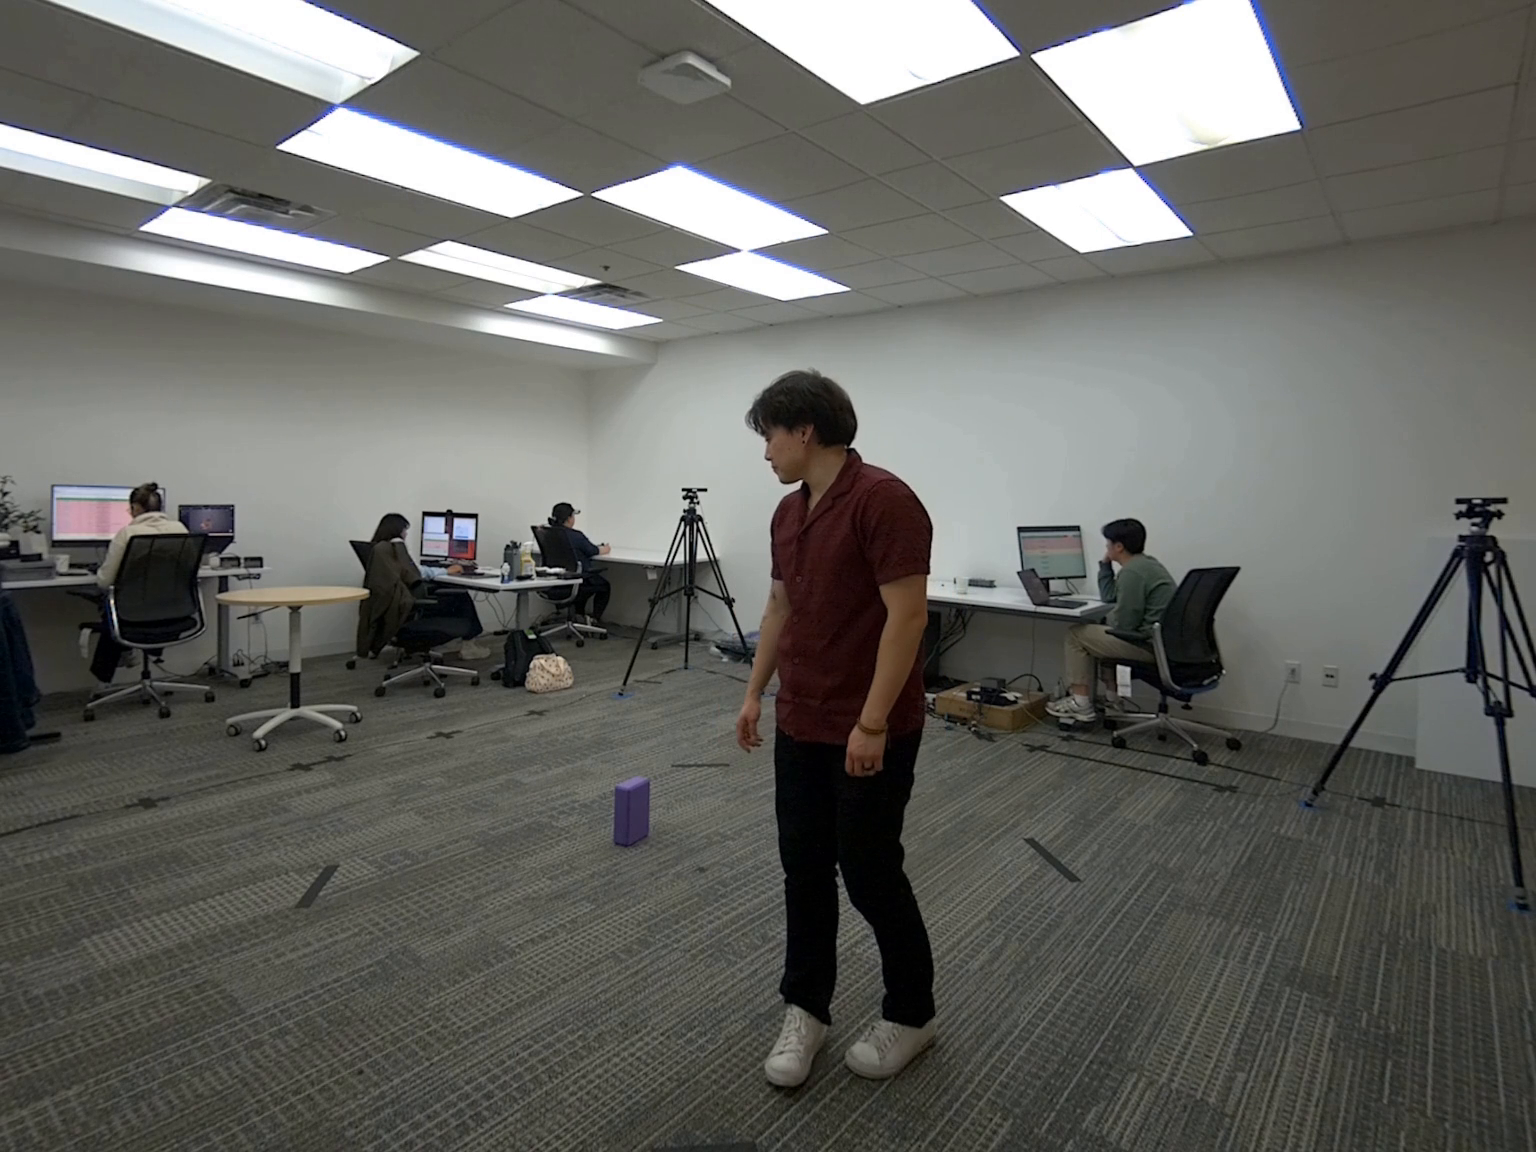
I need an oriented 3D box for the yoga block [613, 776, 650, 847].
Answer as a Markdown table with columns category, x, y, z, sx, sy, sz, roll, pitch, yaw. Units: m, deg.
| category | x | y | z | sx | sy | sz | roll | pitch | yaw |
| --- | --- | --- | --- | --- | --- | --- | --- | --- | --- |
| yoga block | -0.550 | 0.924 | 3.358 | 0.078 | 0.229 | 0.145 | 2 | 3 | 27 |
